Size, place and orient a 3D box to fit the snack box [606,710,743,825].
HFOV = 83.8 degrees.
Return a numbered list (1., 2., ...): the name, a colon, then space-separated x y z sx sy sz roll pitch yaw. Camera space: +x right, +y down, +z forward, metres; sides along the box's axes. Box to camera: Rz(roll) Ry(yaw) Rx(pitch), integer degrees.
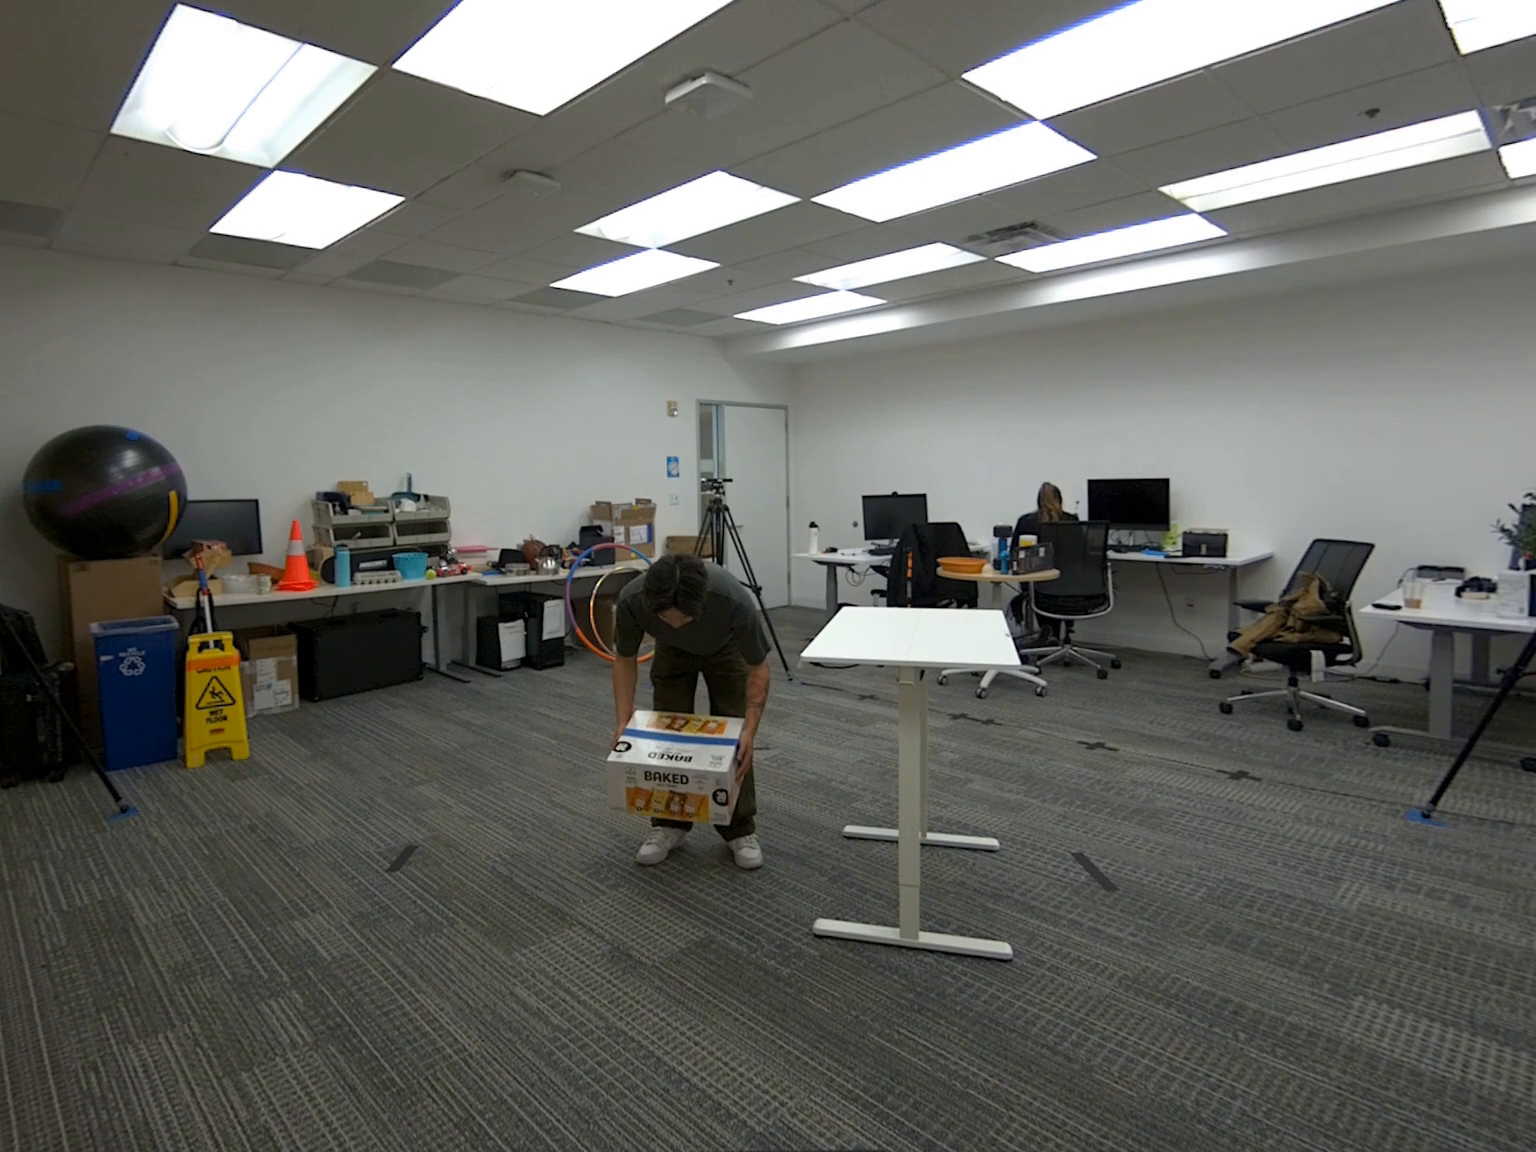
1. snack box: -0.306 0.644 2.911 0.409 0.202 0.342 3 19 9
